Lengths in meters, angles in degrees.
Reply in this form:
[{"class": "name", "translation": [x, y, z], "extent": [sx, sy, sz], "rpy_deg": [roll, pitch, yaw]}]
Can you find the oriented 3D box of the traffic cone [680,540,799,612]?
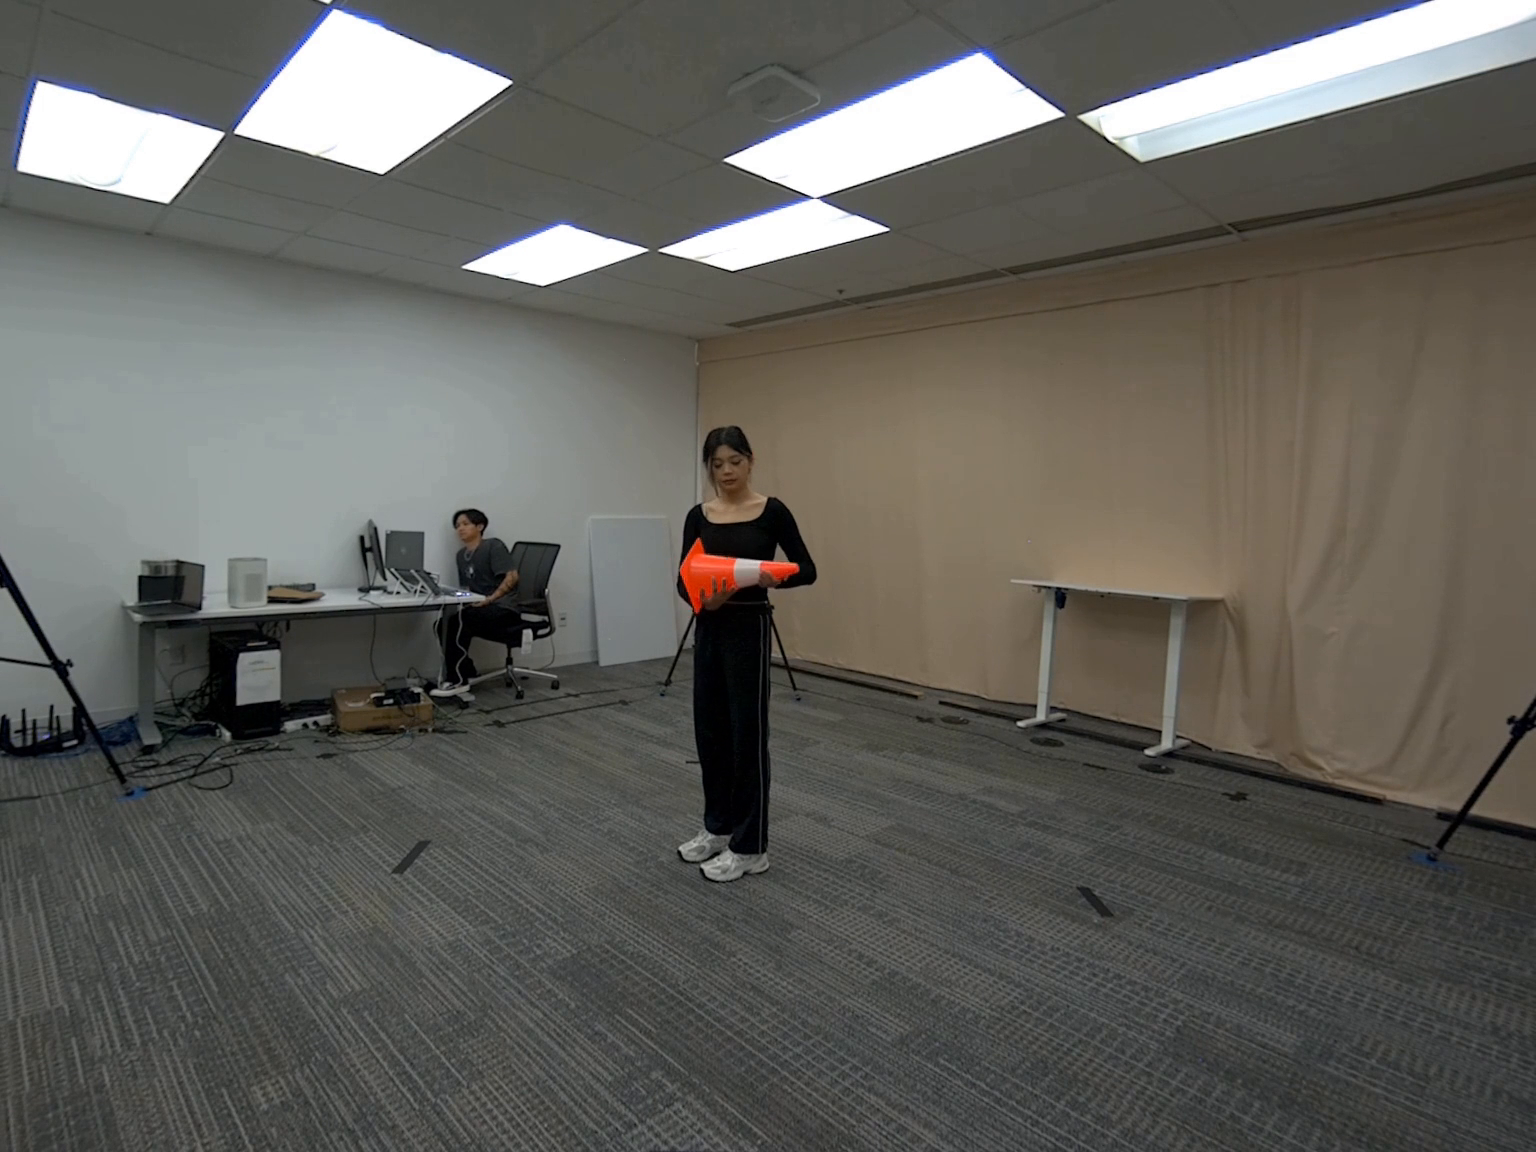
[{"class": "traffic cone", "translation": [-0.083, -0.007, 2.910], "extent": [0.390, 0.198, 0.206], "rpy_deg": [-2, 36, 25]}]
